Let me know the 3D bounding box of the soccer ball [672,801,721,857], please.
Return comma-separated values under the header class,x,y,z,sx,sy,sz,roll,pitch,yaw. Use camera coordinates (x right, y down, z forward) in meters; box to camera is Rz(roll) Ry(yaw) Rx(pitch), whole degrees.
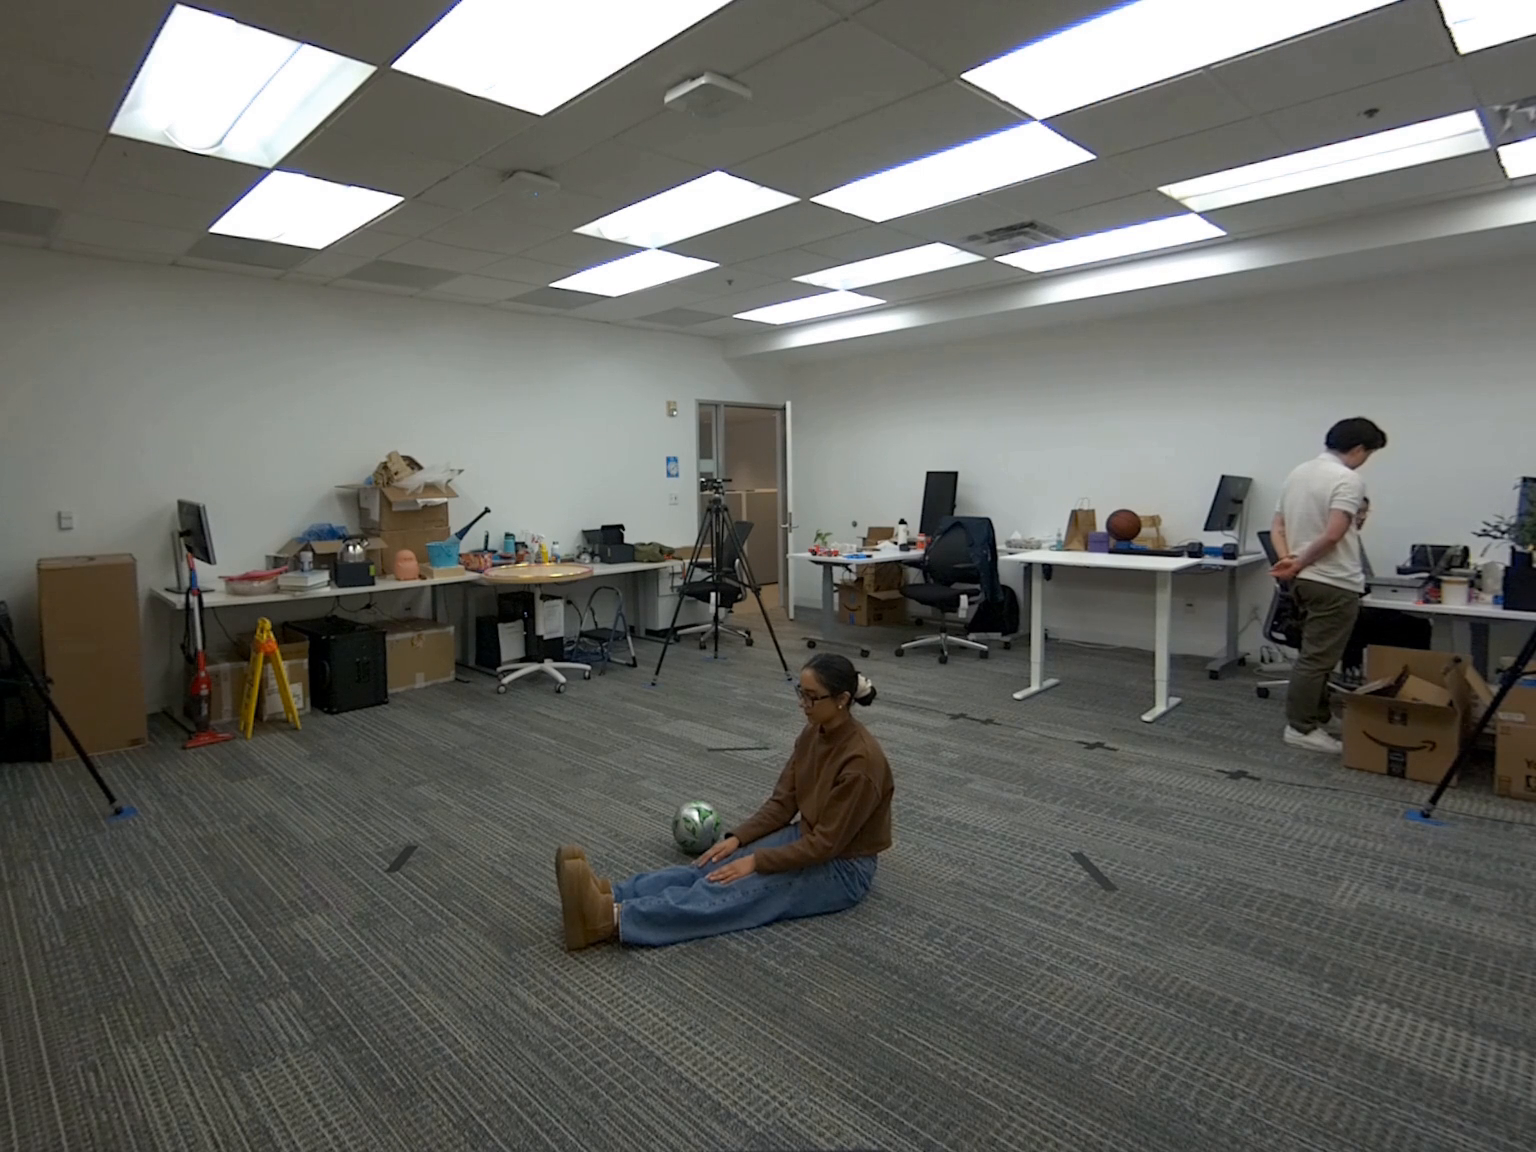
class,x,y,z,sx,sy,sz,roll,pitch,yaw
soccer ball,-0.269,0.945,3.217,0.187,0.187,0.188,-1,5,-2
